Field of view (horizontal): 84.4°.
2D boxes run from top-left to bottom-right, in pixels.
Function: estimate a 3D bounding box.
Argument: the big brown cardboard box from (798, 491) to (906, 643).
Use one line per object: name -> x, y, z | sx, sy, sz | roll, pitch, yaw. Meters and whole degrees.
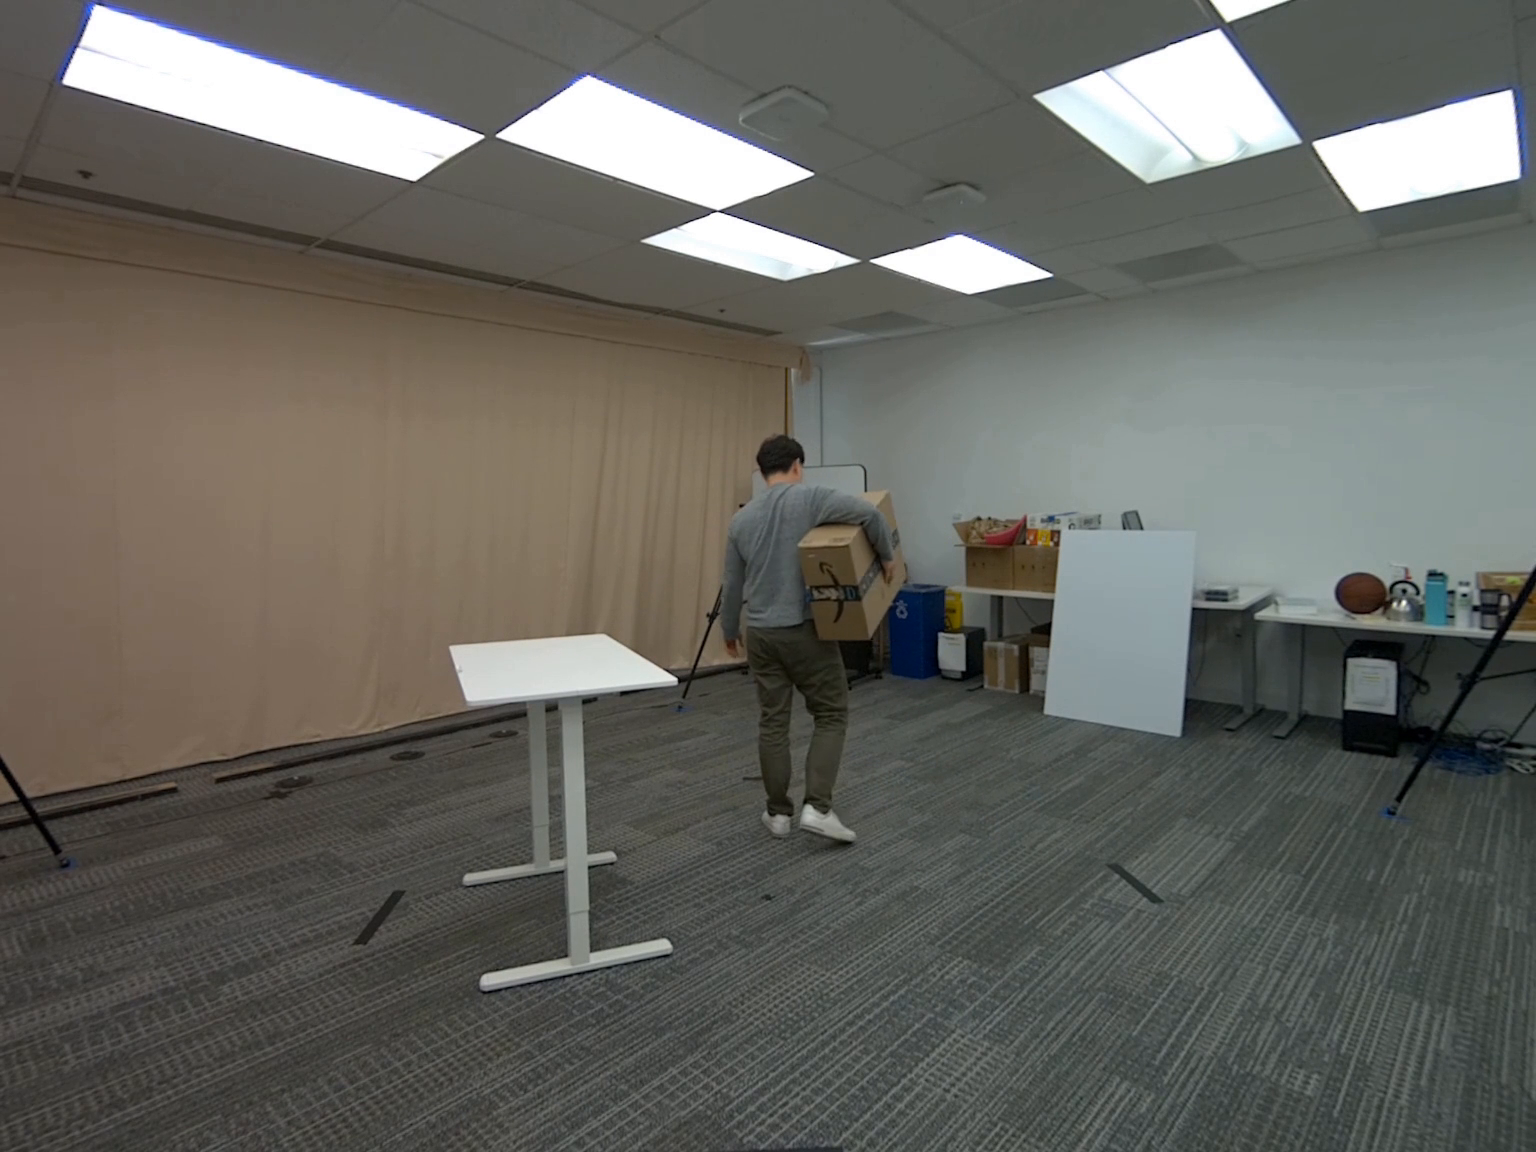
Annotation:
big brown cardboard box -> 0.362, -0.046, 3.469 | 0.239, 0.411, 0.583 | -3, 23, 28
